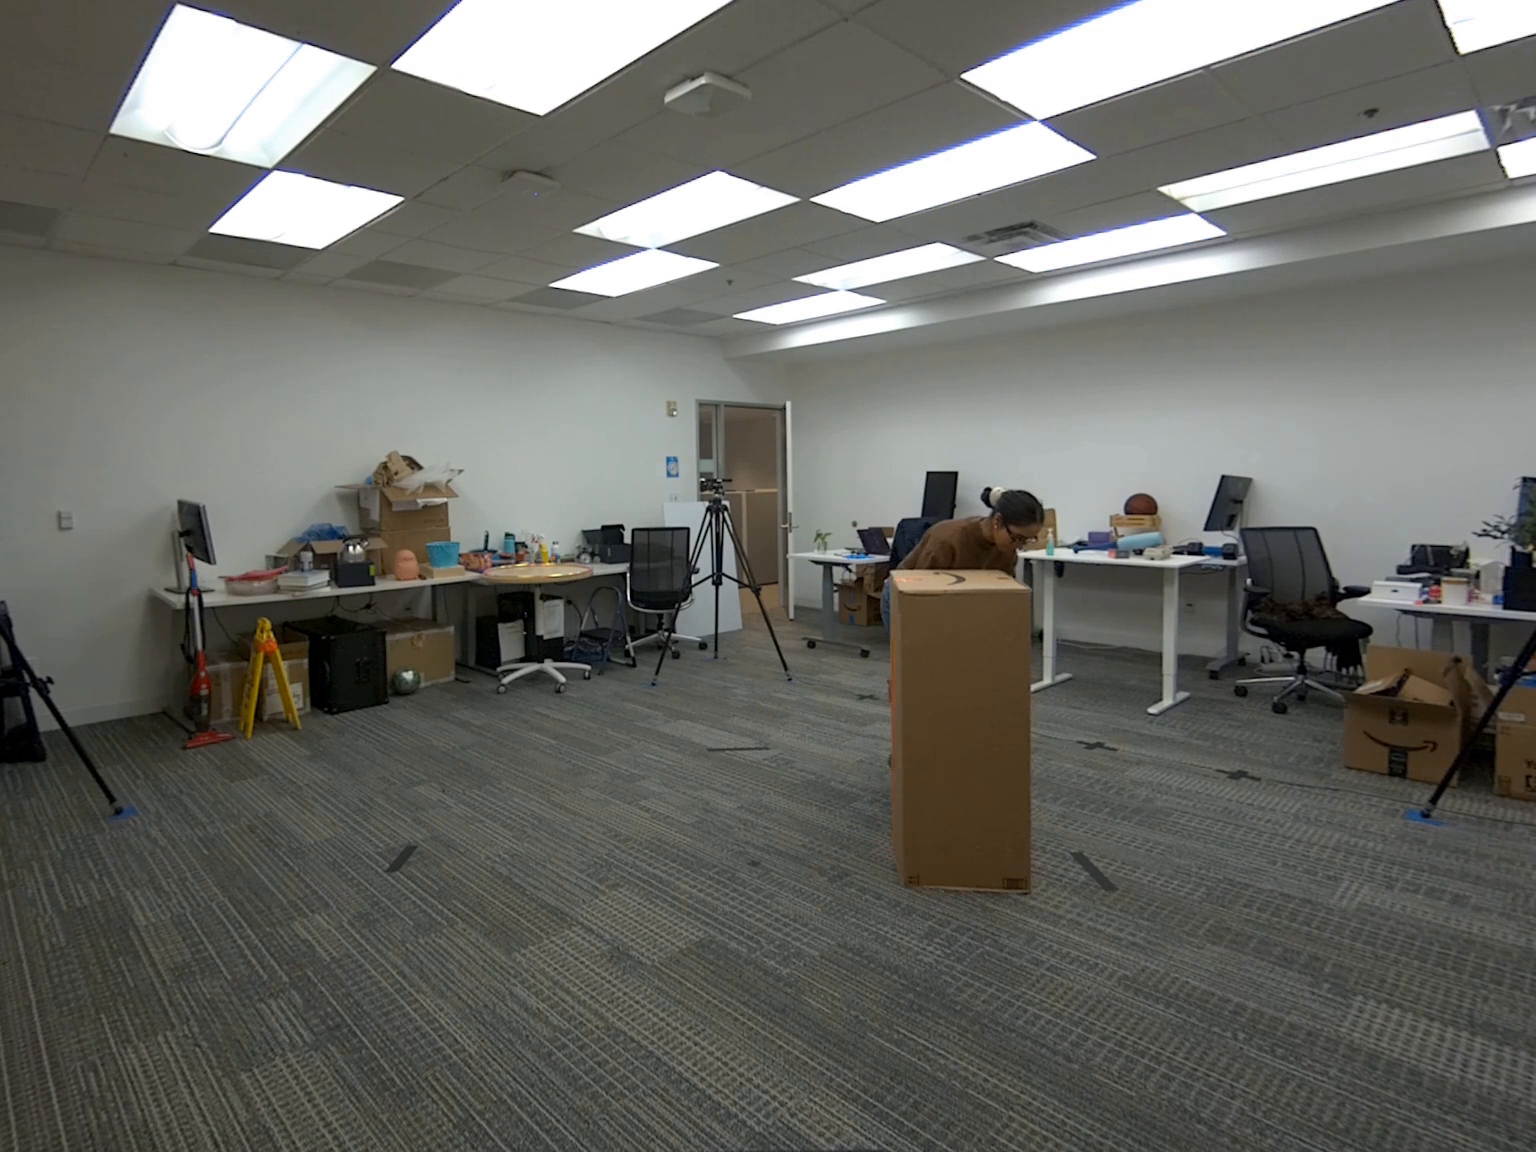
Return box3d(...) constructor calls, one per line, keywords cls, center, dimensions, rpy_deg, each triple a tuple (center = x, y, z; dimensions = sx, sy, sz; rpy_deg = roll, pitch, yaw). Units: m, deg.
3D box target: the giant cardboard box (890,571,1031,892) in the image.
box3d(cls="giant cardboard box", center=(0.677, 0.522, 3.122), dimensions=(0.429, 1.021, 0.577), rpy_deg=(-1, 5, 5))
